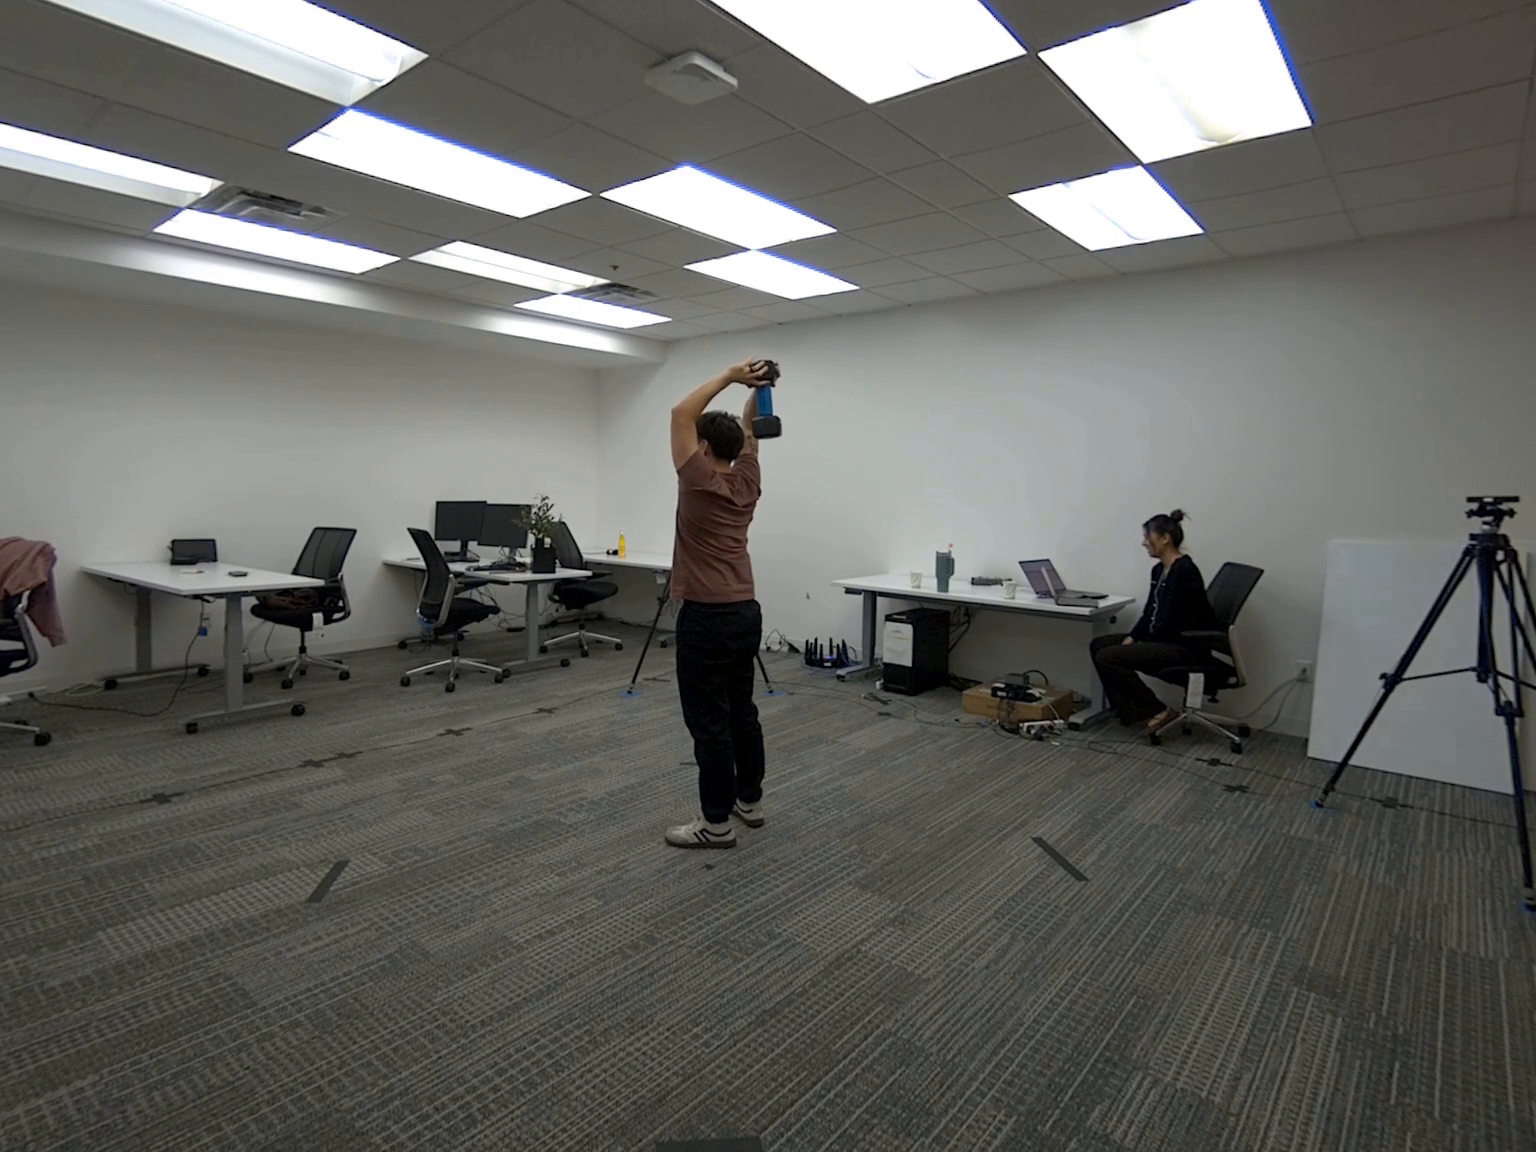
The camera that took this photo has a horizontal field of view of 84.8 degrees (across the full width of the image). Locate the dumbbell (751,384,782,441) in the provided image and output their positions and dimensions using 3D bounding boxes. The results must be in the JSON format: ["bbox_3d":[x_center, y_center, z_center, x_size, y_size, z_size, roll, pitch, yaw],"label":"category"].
[{"bbox_3d":[-0.027,-0.677,3.265,0.126,0.294,0.106,-8,-1,42],"label":"dumbbell"}]
